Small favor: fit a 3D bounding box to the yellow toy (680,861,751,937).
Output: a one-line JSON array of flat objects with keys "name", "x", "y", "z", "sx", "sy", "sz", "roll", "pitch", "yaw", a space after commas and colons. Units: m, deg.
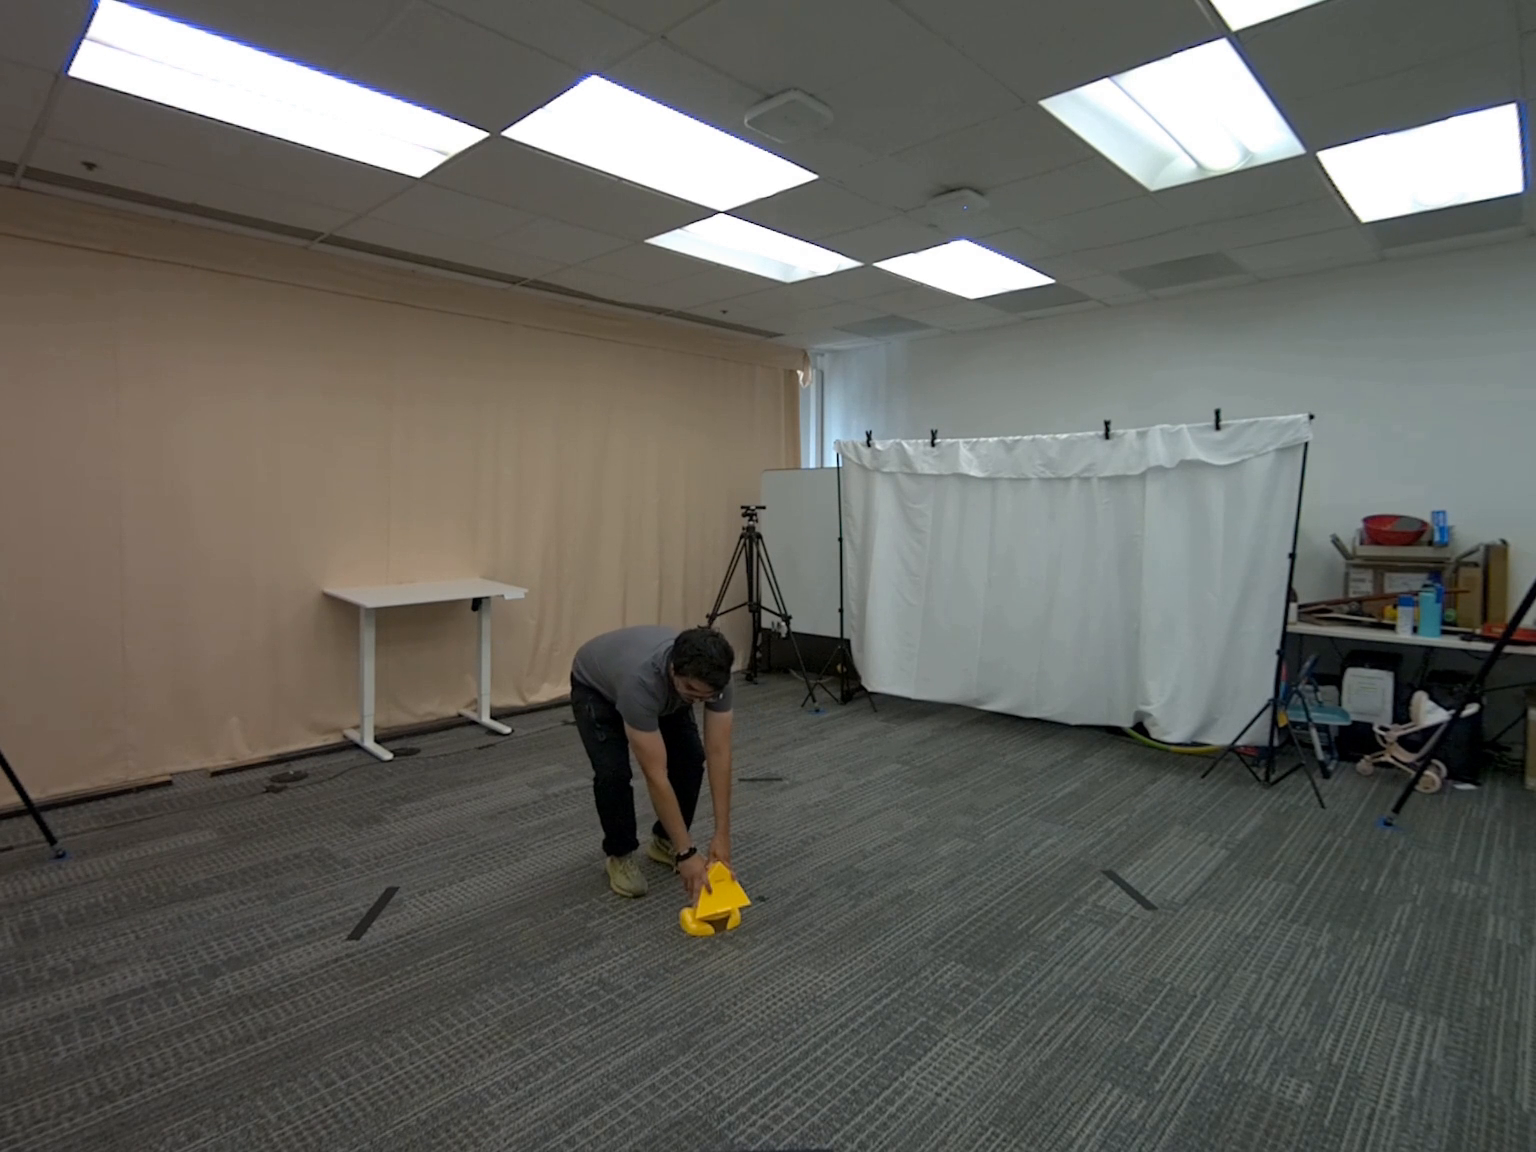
[{"name": "yellow toy", "x": -0.191, "y": 1.051, "z": 2.804, "sx": 0.199, "sy": 0.230, "sz": 0.199, "roll": -4, "pitch": 6, "yaw": -30}]
